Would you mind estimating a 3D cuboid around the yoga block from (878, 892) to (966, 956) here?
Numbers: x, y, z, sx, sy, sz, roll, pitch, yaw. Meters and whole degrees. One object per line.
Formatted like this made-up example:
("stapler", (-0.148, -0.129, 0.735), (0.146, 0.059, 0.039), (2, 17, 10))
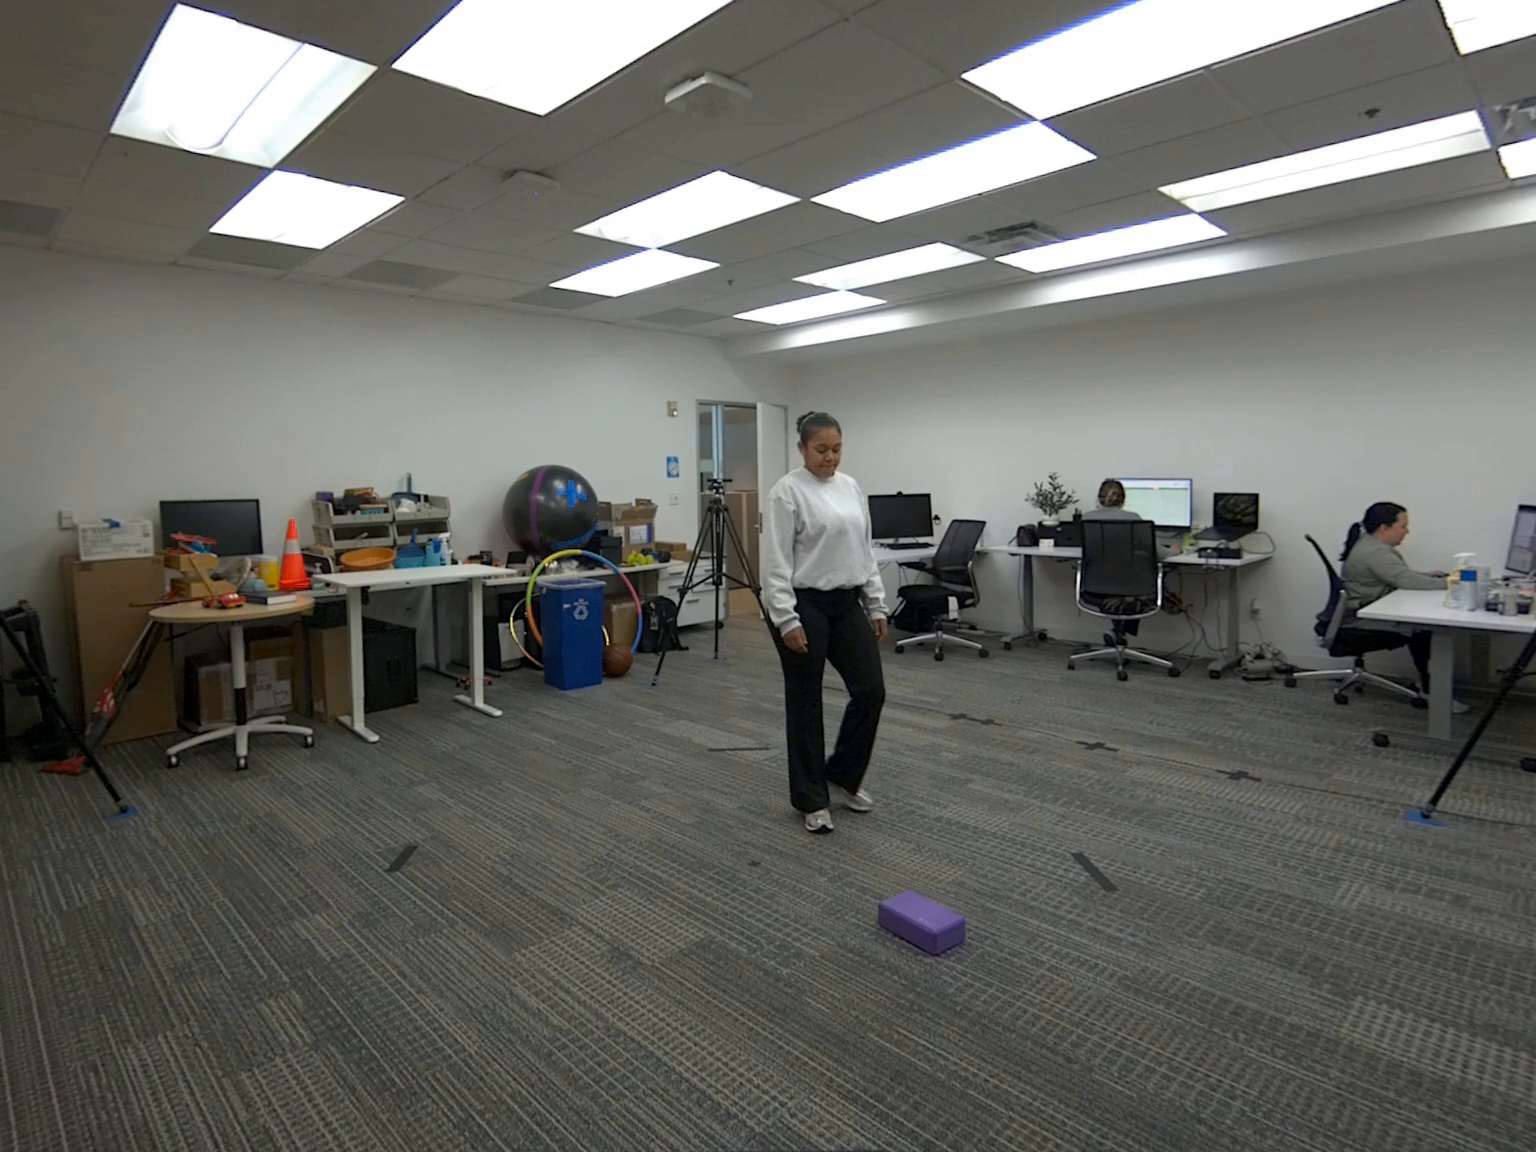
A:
("yoga block", (0.473, 1.058, 2.604), (0.145, 0.076, 0.236), (-5, 8, -36))
